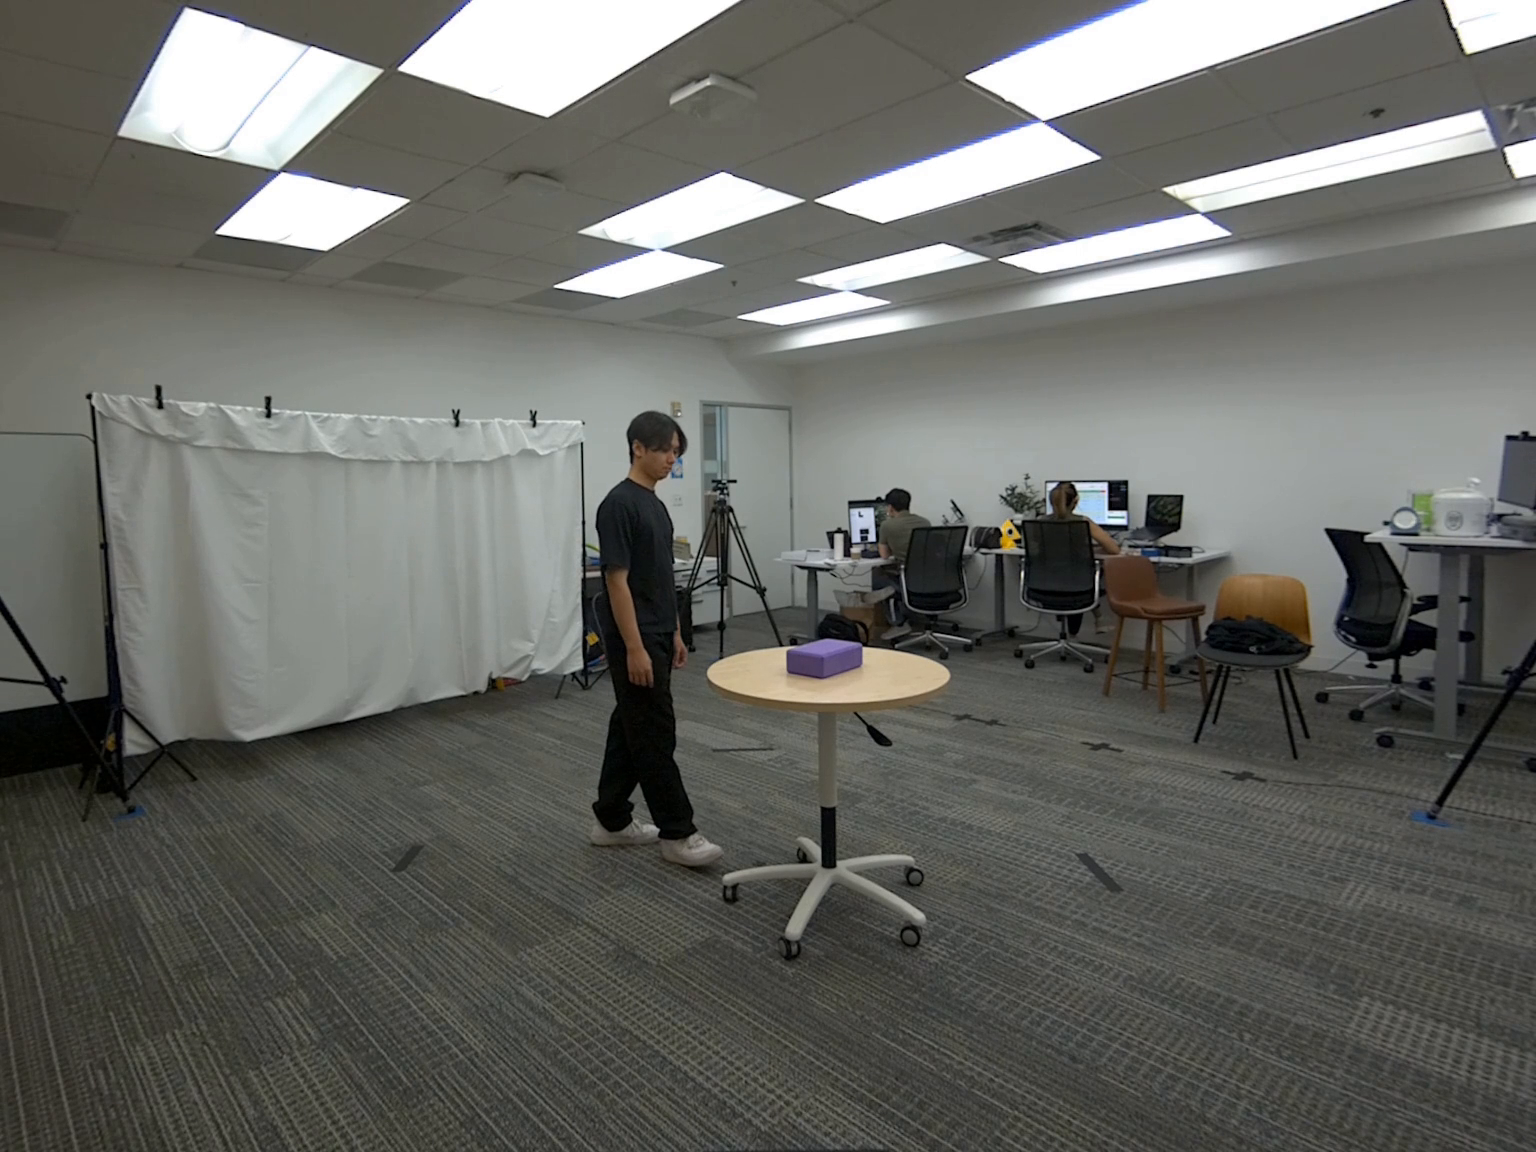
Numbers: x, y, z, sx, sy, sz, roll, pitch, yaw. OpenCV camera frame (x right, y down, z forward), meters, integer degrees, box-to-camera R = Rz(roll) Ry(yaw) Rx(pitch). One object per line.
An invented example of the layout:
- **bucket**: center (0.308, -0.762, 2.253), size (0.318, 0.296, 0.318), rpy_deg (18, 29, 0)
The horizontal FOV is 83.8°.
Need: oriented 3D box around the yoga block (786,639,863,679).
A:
- **yoga block**: center (0.185, 0.263, 2.741), size (0.153, 0.076, 0.223), rpy_deg (5, 9, 40)
